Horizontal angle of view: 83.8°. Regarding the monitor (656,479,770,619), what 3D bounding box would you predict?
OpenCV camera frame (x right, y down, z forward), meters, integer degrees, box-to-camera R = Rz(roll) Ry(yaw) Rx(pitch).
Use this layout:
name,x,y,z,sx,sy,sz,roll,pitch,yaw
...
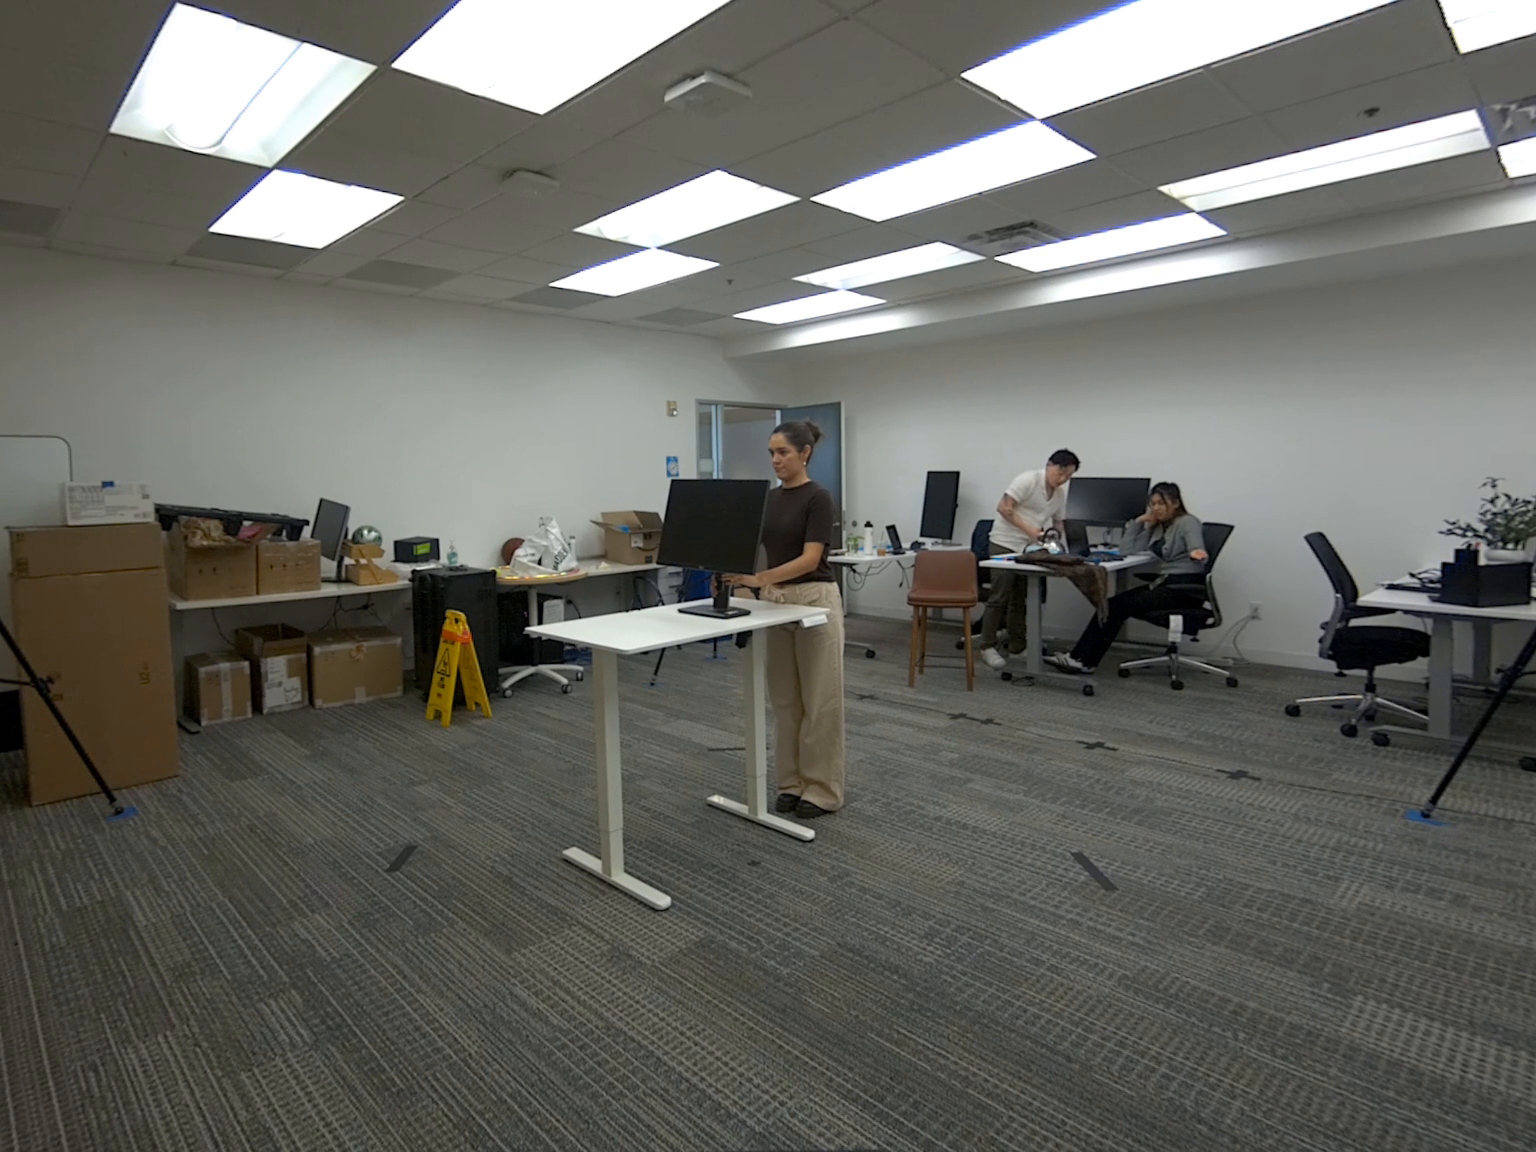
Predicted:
name,x,y,z,sx,sy,sz,roll,pitch,yaw
monitor,-0.212,-0.112,3.266,0.170,0.512,0.547,-10,11,-44
